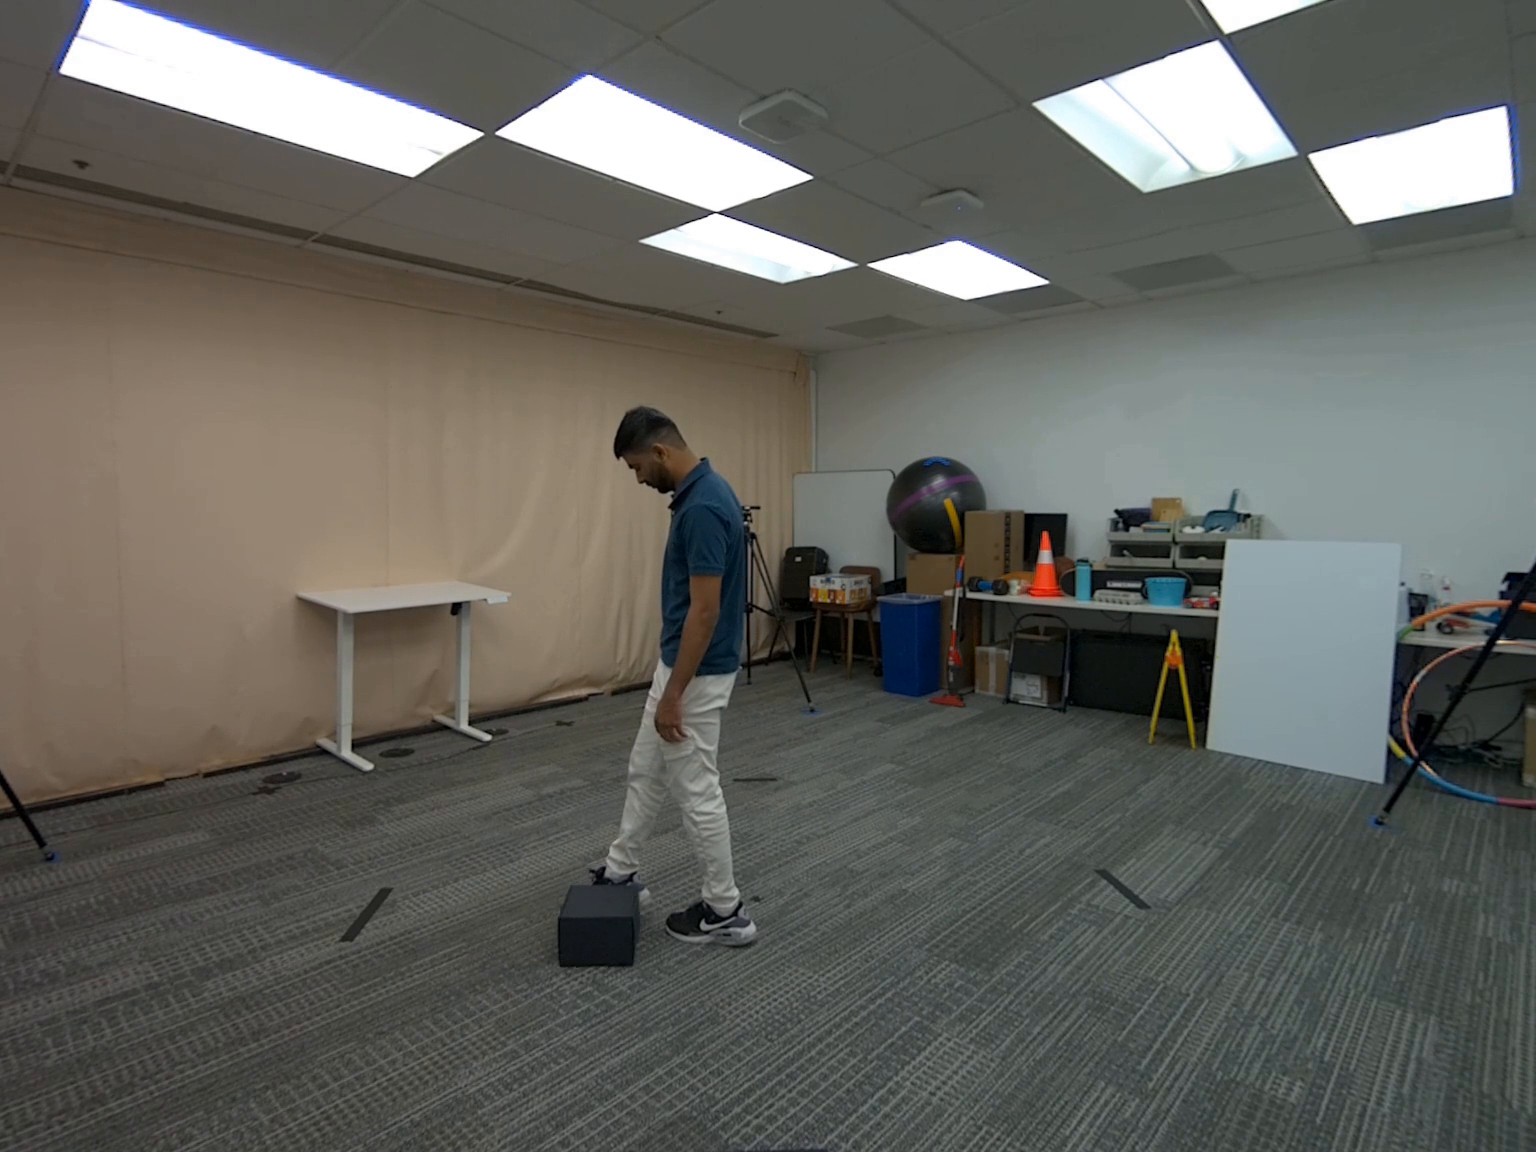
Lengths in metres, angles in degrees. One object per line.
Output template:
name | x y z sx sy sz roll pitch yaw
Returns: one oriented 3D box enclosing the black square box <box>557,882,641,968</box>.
black square box | -0.521 1.090 2.650 0.228 0.155 0.218 0 4 -2
